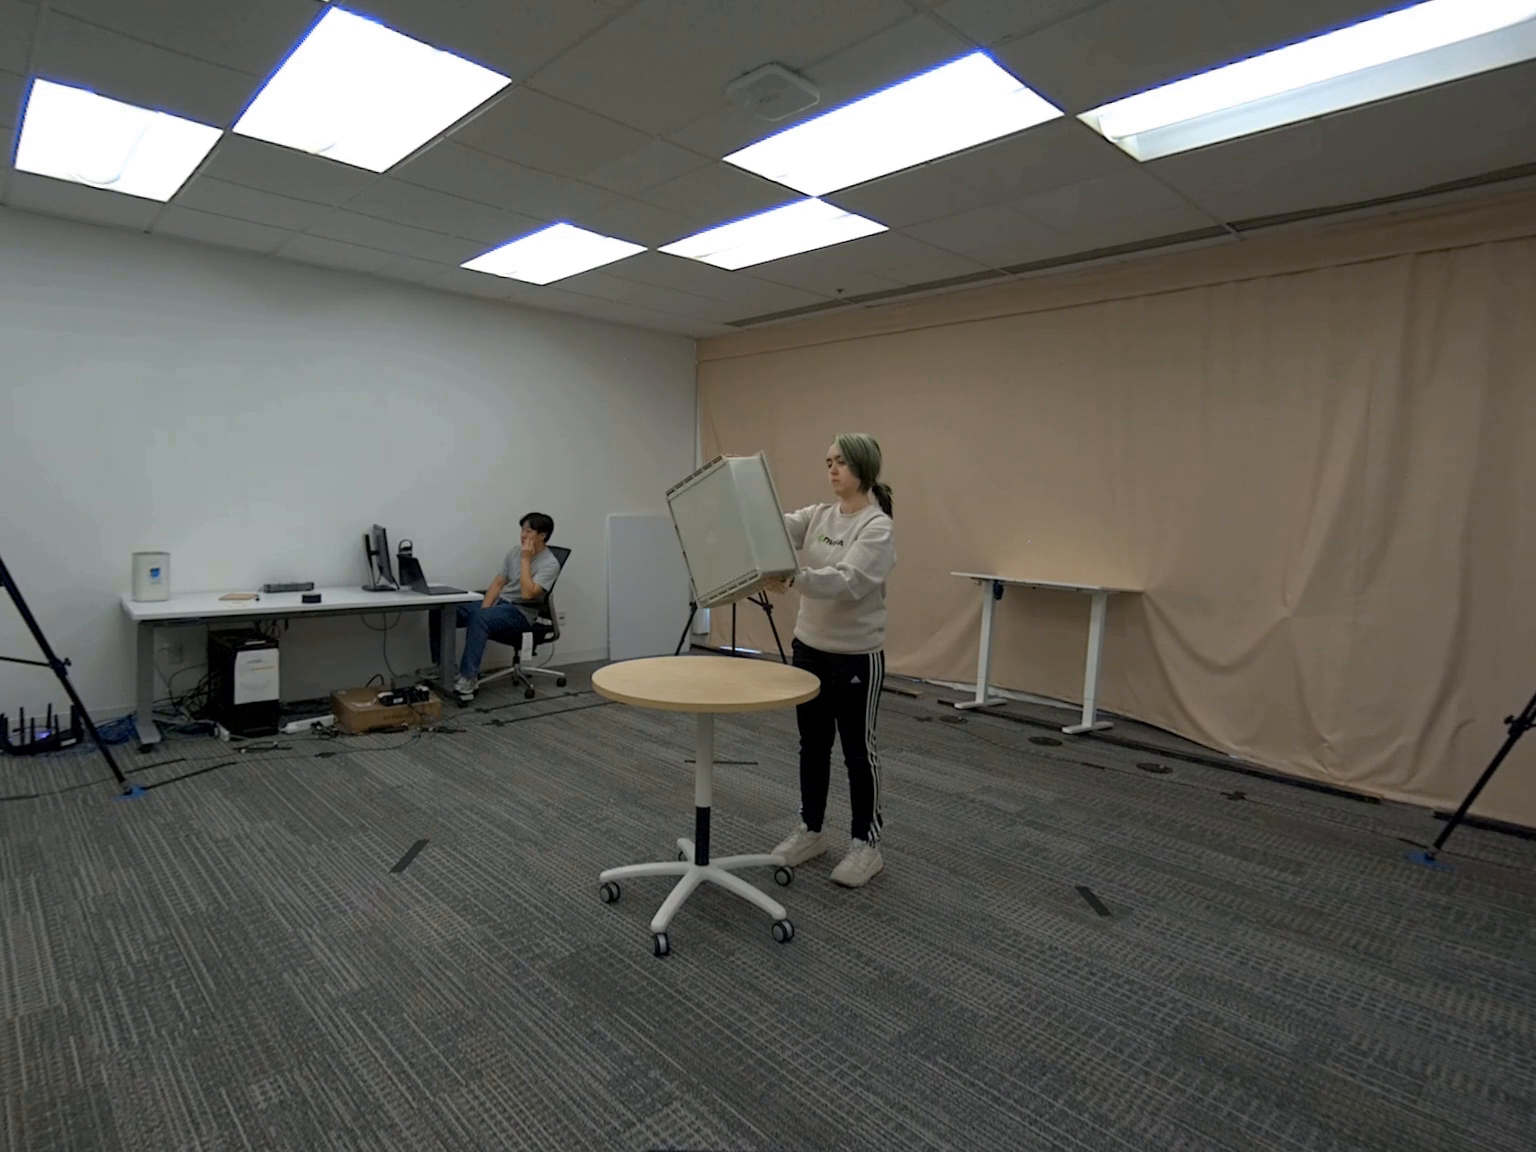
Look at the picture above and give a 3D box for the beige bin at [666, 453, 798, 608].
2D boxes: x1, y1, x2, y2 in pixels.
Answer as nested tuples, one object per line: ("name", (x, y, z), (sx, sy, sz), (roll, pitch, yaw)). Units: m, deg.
("beige bin", (-0.144, -0.141, 2.782), (0.185, 0.427, 0.381), (-6, -15, -43))
